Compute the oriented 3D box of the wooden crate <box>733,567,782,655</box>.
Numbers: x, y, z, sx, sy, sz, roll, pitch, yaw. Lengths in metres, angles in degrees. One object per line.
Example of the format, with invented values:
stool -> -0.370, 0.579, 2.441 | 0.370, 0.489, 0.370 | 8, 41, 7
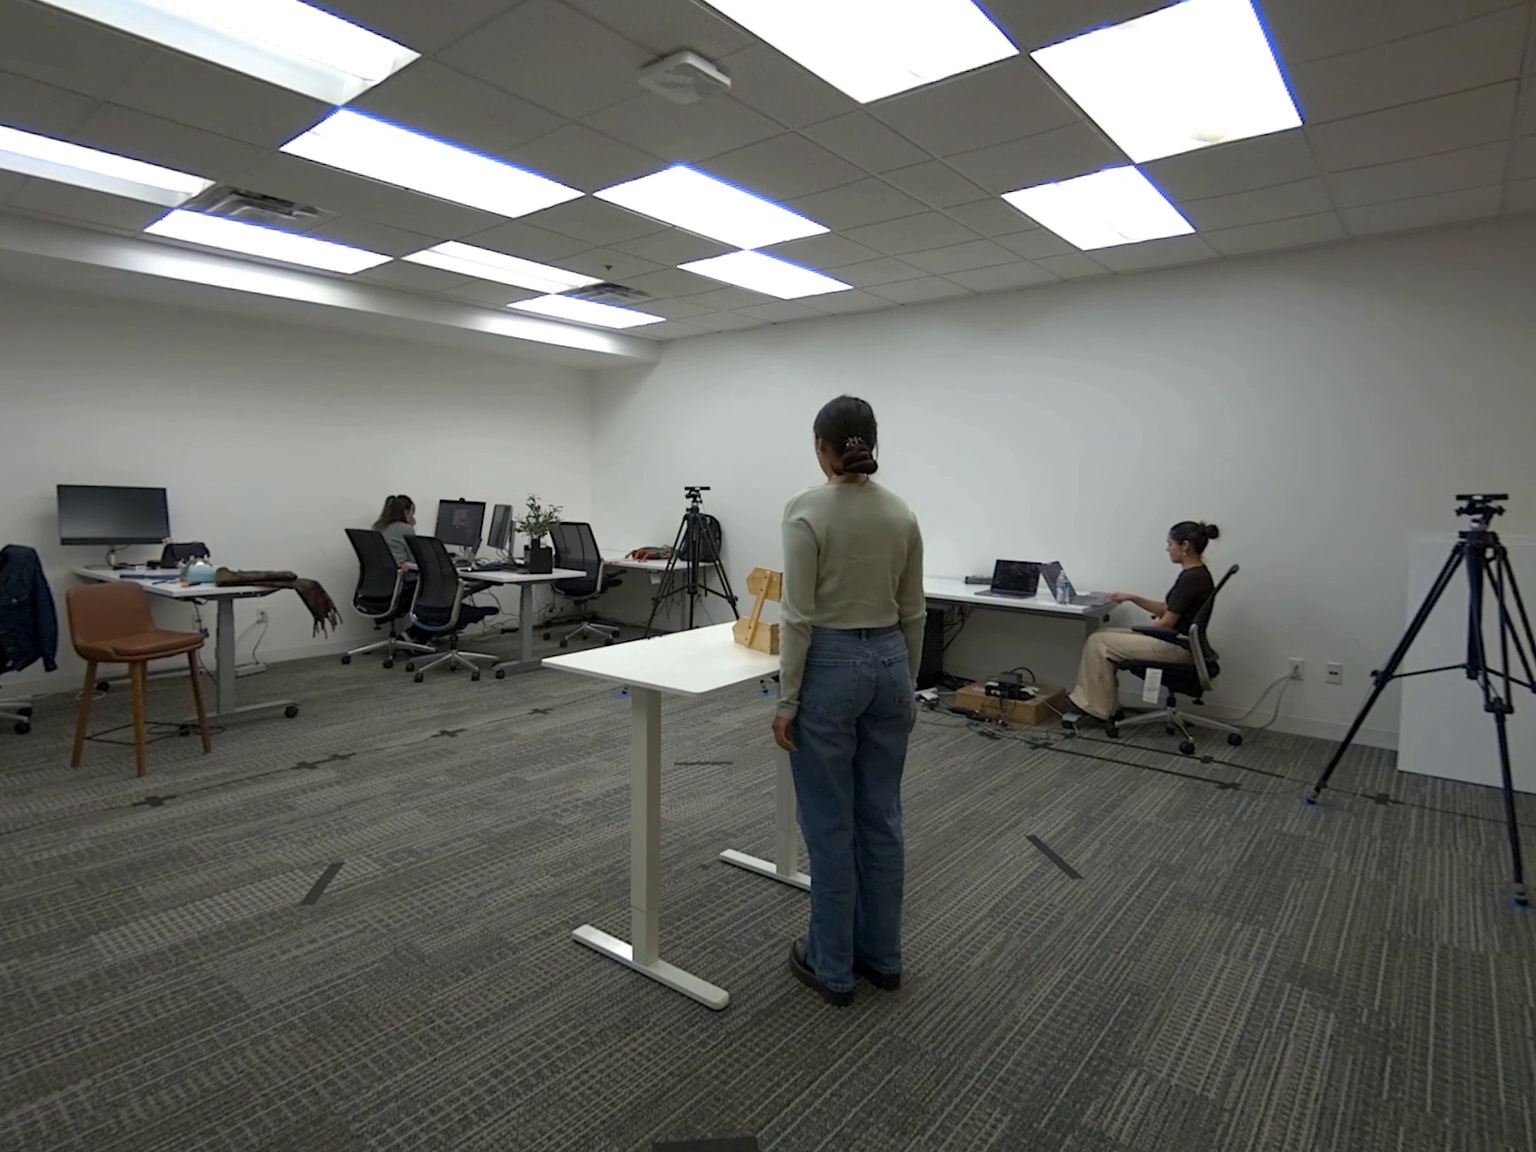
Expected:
wooden crate -> 0.081, 0.089, 2.739 | 0.316, 0.272, 0.311 | -3, 7, -28
